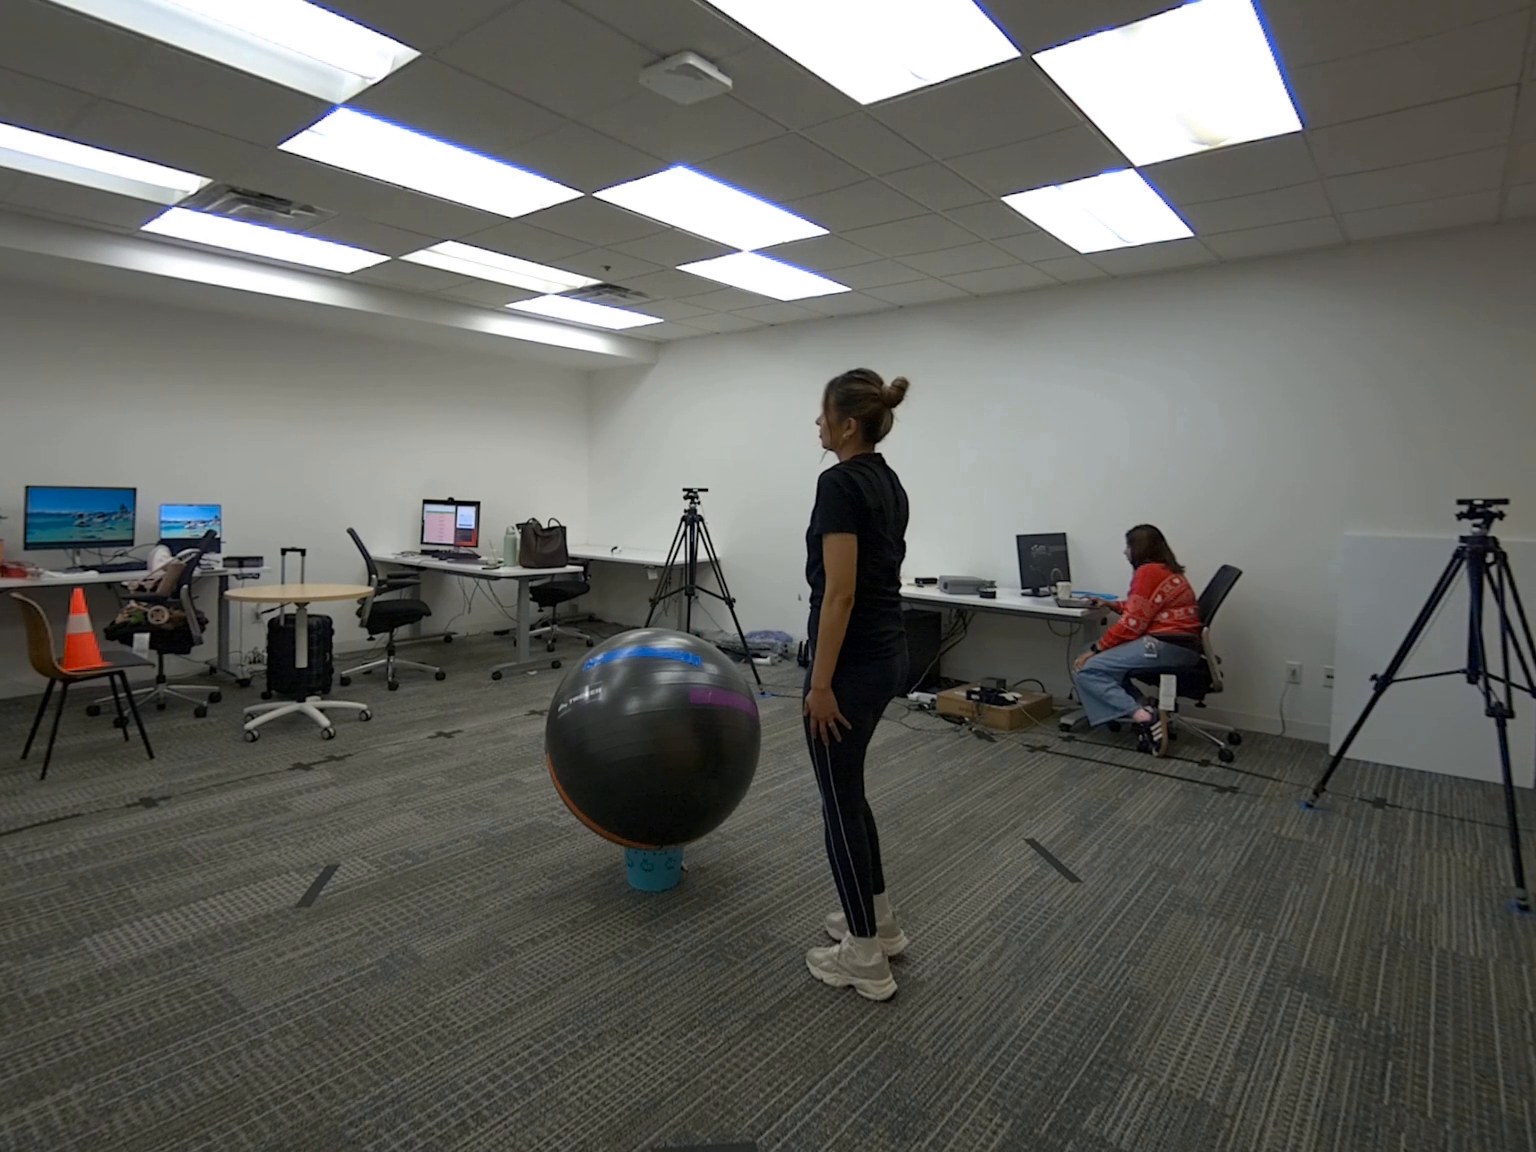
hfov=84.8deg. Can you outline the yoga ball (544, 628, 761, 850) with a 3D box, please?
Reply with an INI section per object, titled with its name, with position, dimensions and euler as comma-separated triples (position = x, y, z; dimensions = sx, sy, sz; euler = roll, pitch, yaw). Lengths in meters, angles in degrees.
[yoga ball]
position = -0.416, 0.564, 3.008
dimensions = 0.757, 0.755, 0.762
euler = 1, 4, -2
